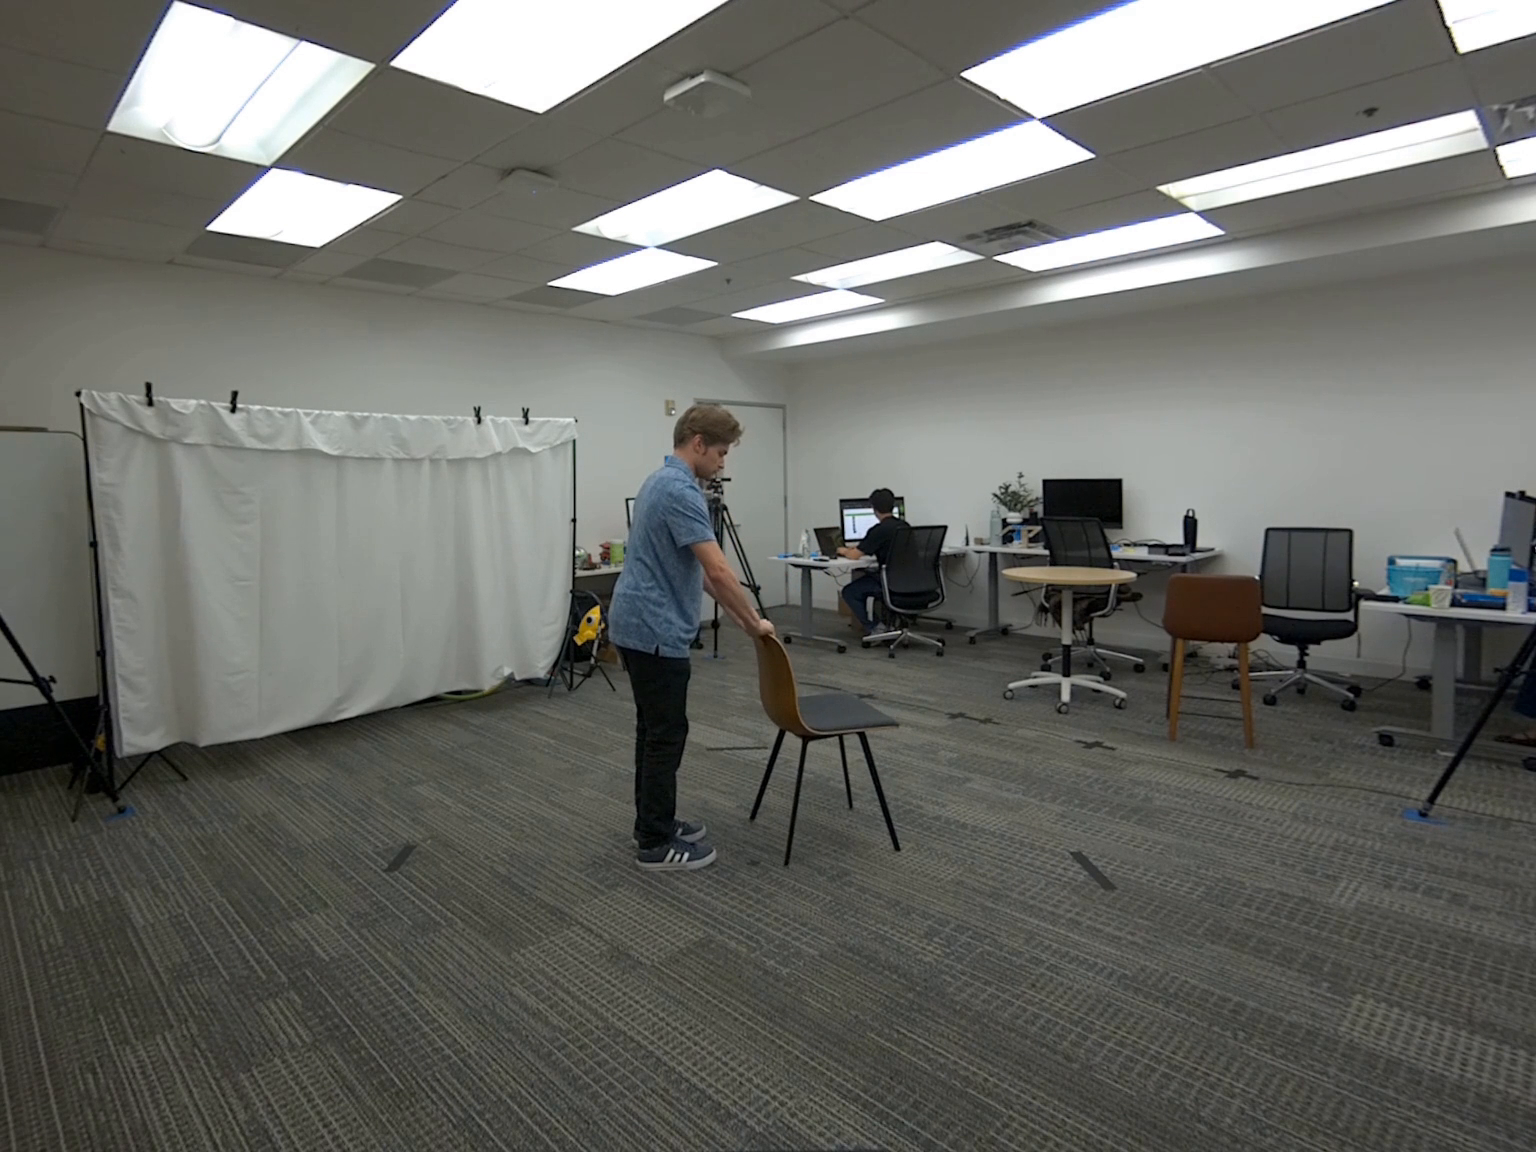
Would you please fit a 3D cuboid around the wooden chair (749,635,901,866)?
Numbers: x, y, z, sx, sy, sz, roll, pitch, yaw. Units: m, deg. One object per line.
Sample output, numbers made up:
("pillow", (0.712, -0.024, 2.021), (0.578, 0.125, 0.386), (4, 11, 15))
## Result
("wooden chair", (0.217, 0.578, 3.318), (0.516, 0.874, 0.487), (-6, 5, -16))
